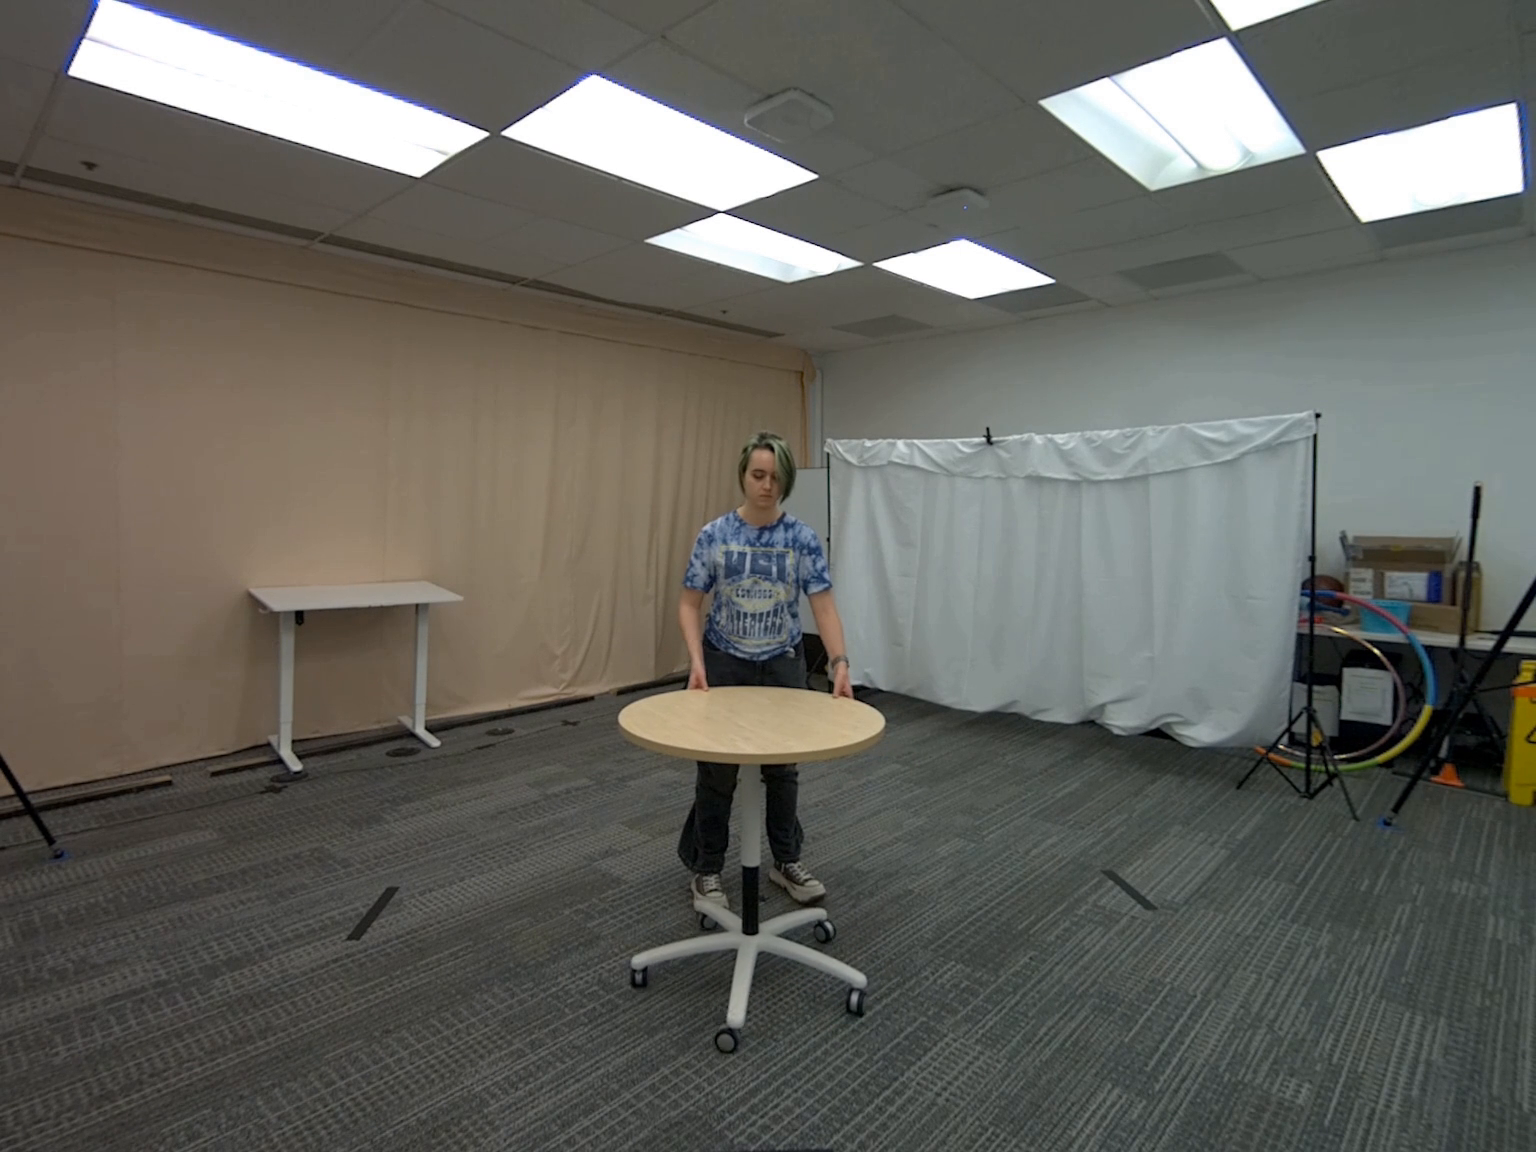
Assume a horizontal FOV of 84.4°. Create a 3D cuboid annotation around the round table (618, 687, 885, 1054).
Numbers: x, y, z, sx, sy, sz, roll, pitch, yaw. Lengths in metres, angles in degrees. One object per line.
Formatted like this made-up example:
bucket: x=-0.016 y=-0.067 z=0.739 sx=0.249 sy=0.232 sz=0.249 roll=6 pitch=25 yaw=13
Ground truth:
round table: x=-0.045 y=0.797 z=2.465 sx=0.763 sy=0.792 sz=0.767 roll=0 pitch=4 yaw=-2
